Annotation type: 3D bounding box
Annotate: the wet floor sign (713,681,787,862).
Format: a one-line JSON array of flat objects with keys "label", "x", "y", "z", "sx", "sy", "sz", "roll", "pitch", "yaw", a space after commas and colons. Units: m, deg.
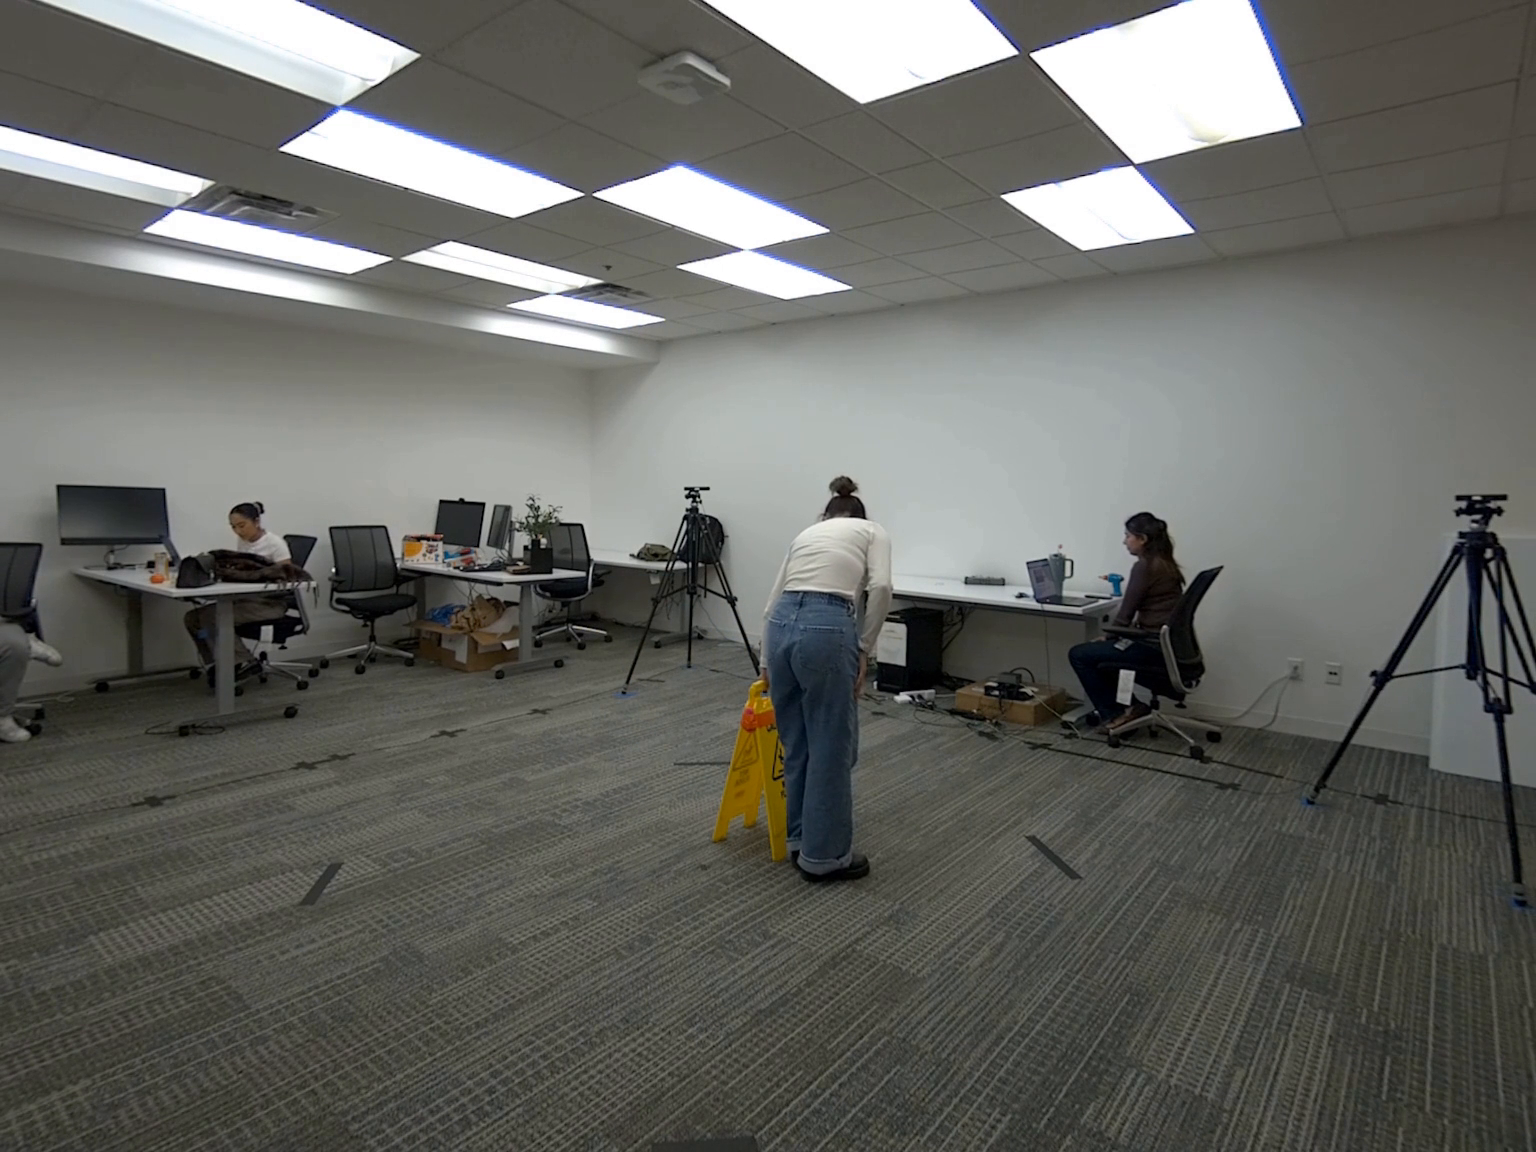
[{"label": "wet floor sign", "x": -0.018, "y": 0.722, "z": 3.351, "sx": 0.299, "sy": 0.644, "sz": 0.274, "roll": 4, "pitch": 4, "yaw": 34}]
